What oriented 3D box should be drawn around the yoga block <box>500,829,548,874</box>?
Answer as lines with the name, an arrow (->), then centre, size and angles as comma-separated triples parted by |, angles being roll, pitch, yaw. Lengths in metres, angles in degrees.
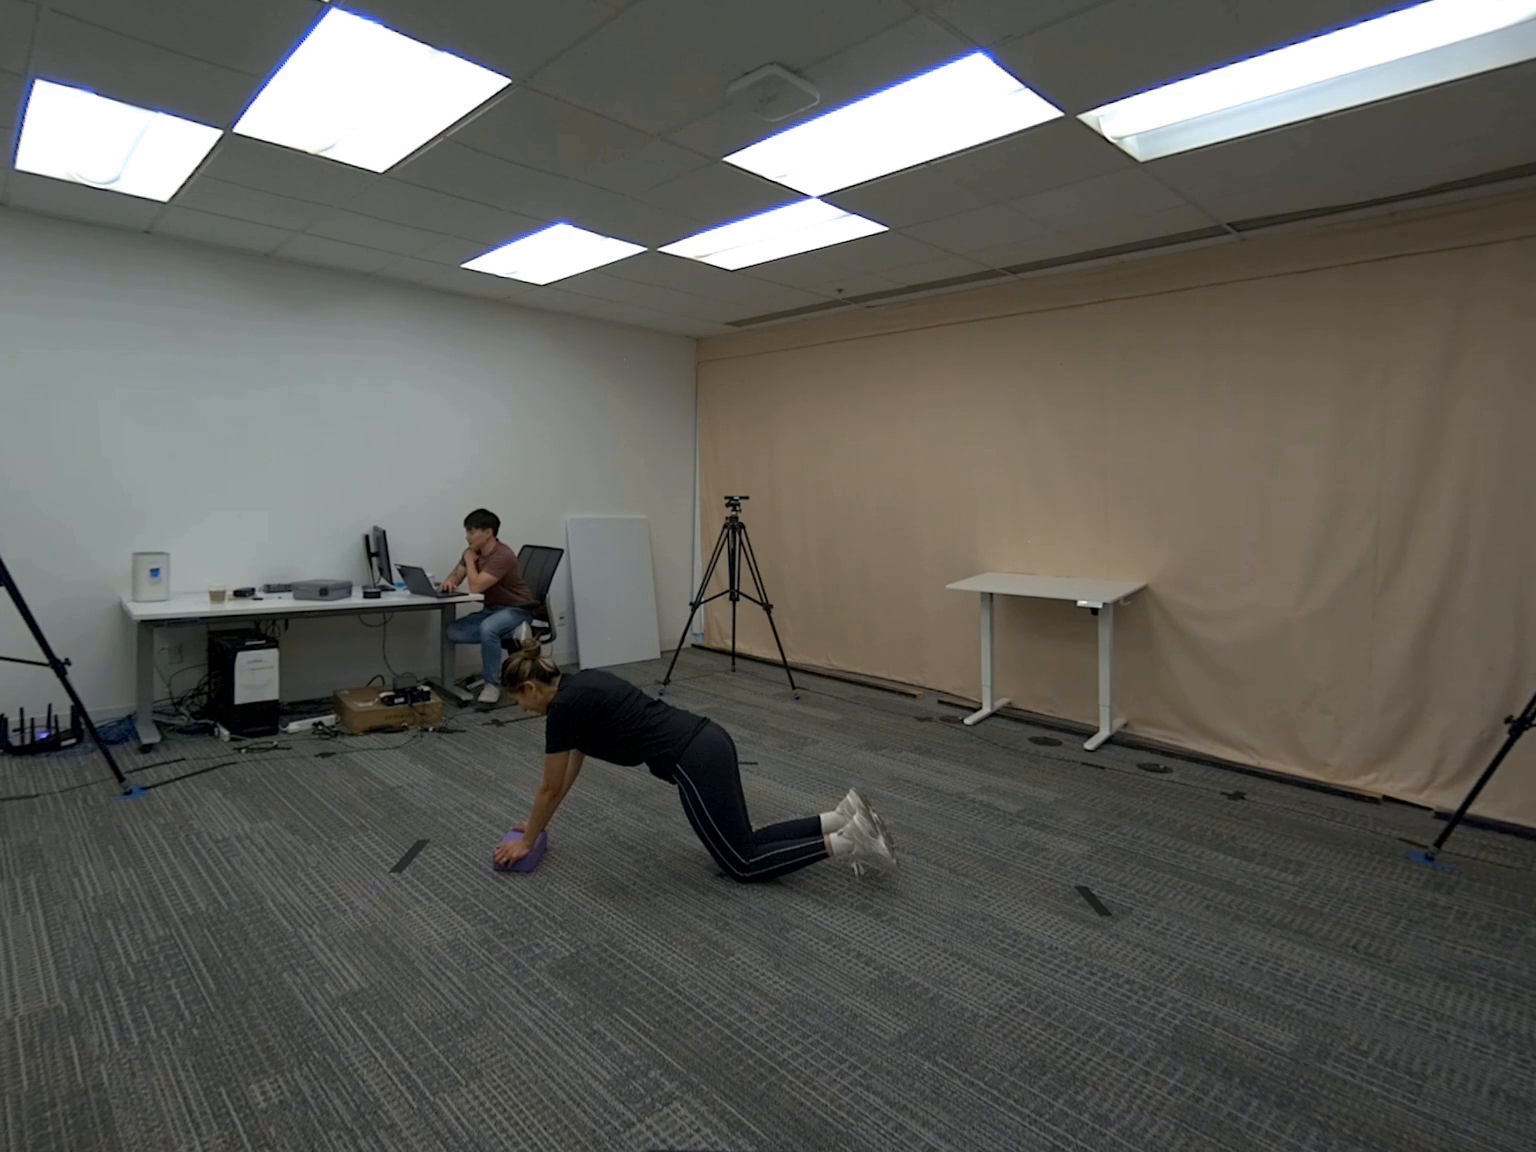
yoga block -> -0.938, 1.034, 3.203 | 0.149, 0.076, 0.229 | 1, 4, 1
